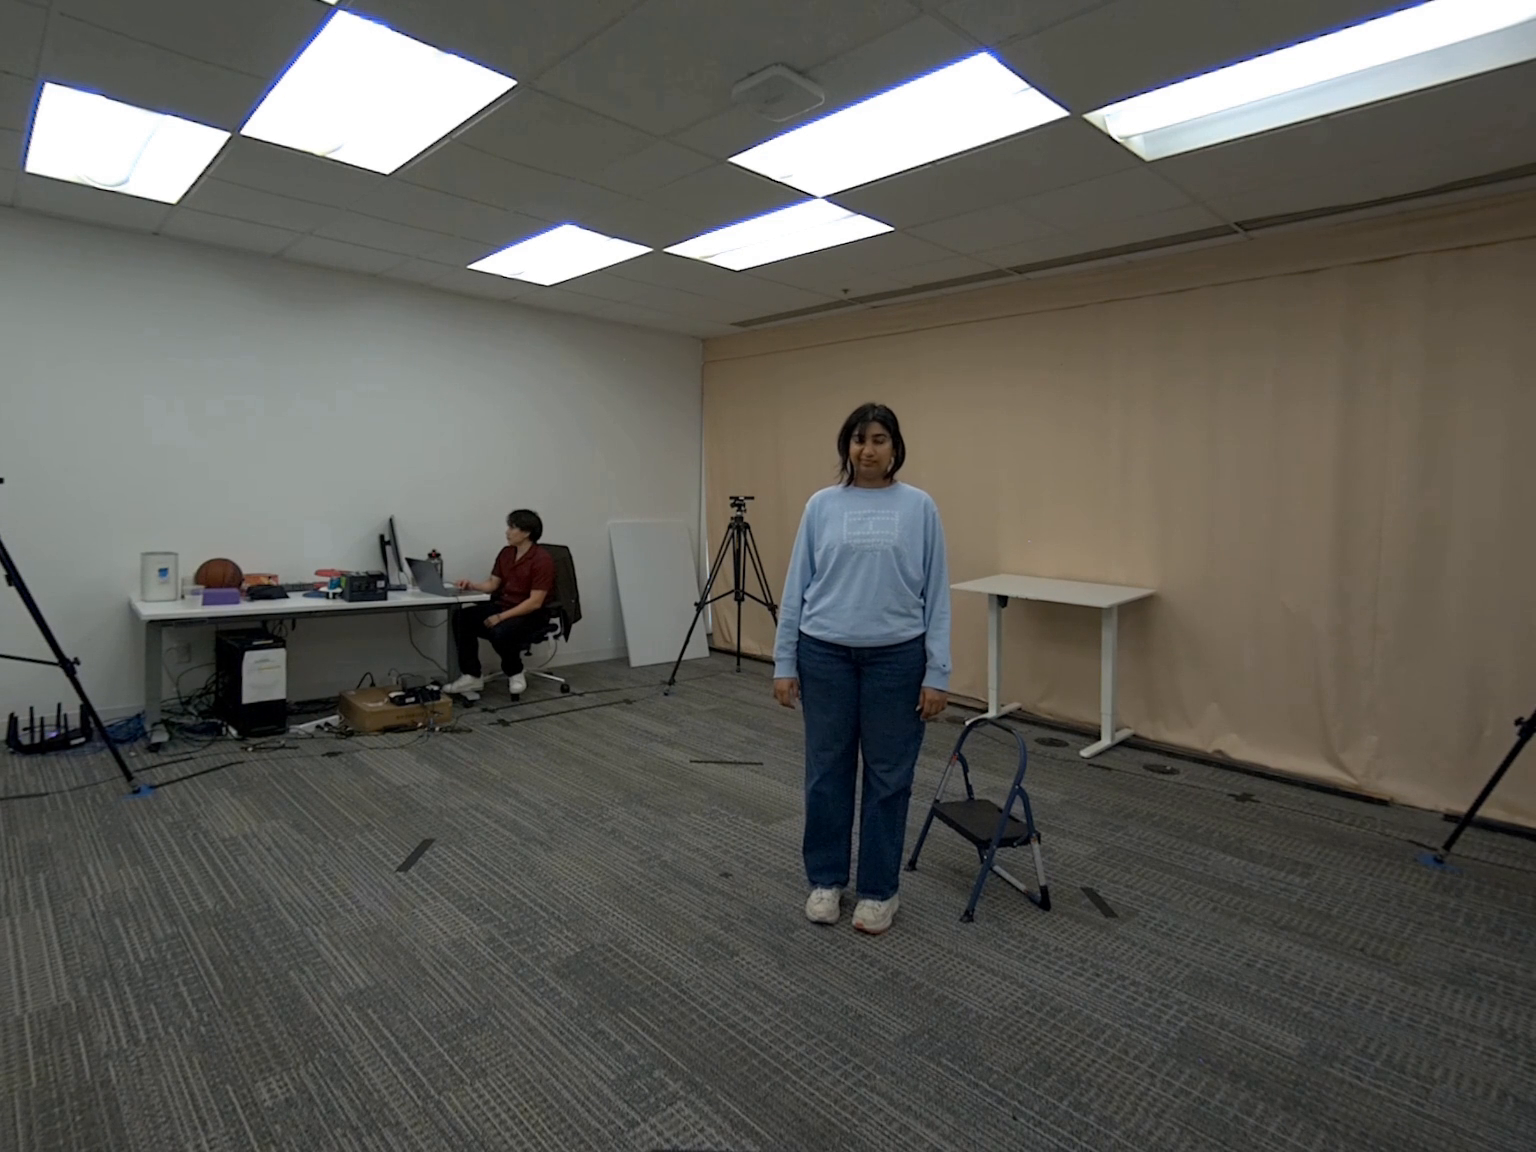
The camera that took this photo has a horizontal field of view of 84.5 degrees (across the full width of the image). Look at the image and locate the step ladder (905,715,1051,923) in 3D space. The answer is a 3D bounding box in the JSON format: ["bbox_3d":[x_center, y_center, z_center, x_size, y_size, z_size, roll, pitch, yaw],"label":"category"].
[{"bbox_3d":[0.748,0.834,3.031,0.345,0.604,0.437,1,4,-17],"label":"step ladder"}]
